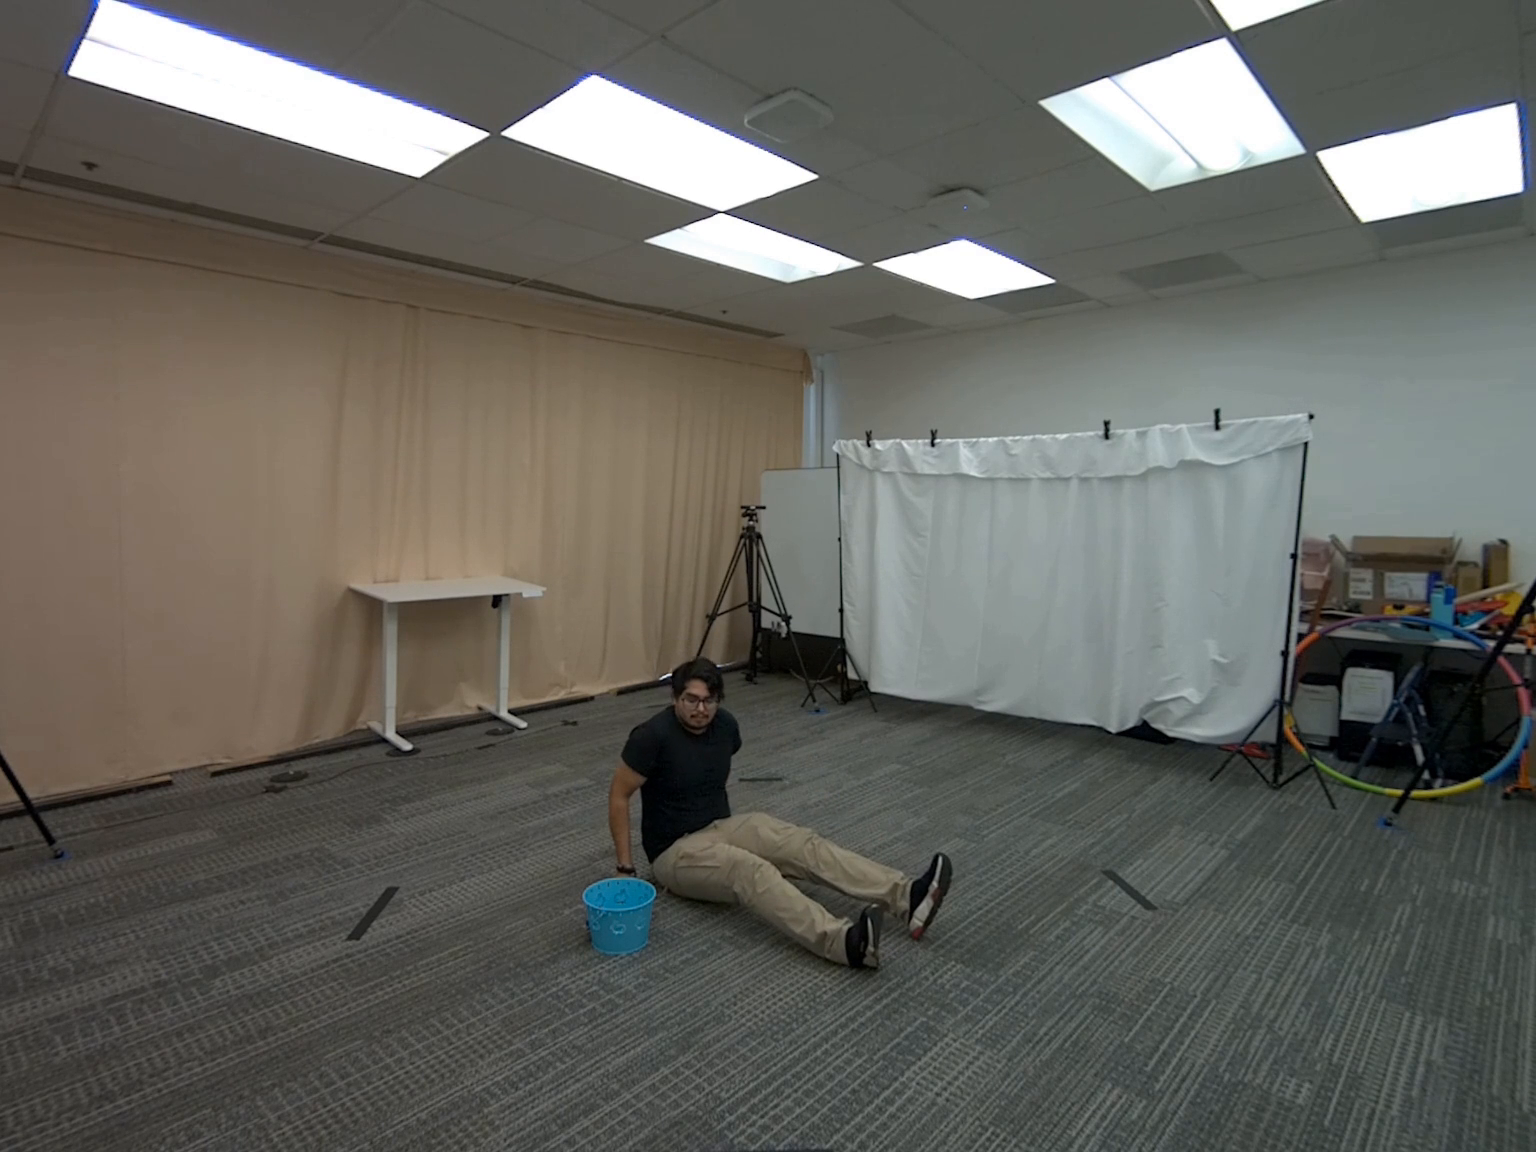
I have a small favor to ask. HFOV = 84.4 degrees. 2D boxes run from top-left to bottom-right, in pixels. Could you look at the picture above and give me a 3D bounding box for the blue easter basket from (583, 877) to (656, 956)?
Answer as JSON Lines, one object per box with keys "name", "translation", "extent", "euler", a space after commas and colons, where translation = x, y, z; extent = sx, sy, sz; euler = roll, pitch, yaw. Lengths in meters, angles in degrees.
{"name": "blue easter basket", "translation": [-0.499, 1.093, 2.699], "extent": [0.243, 0.156, 0.244], "euler": [0, 2, -2]}
